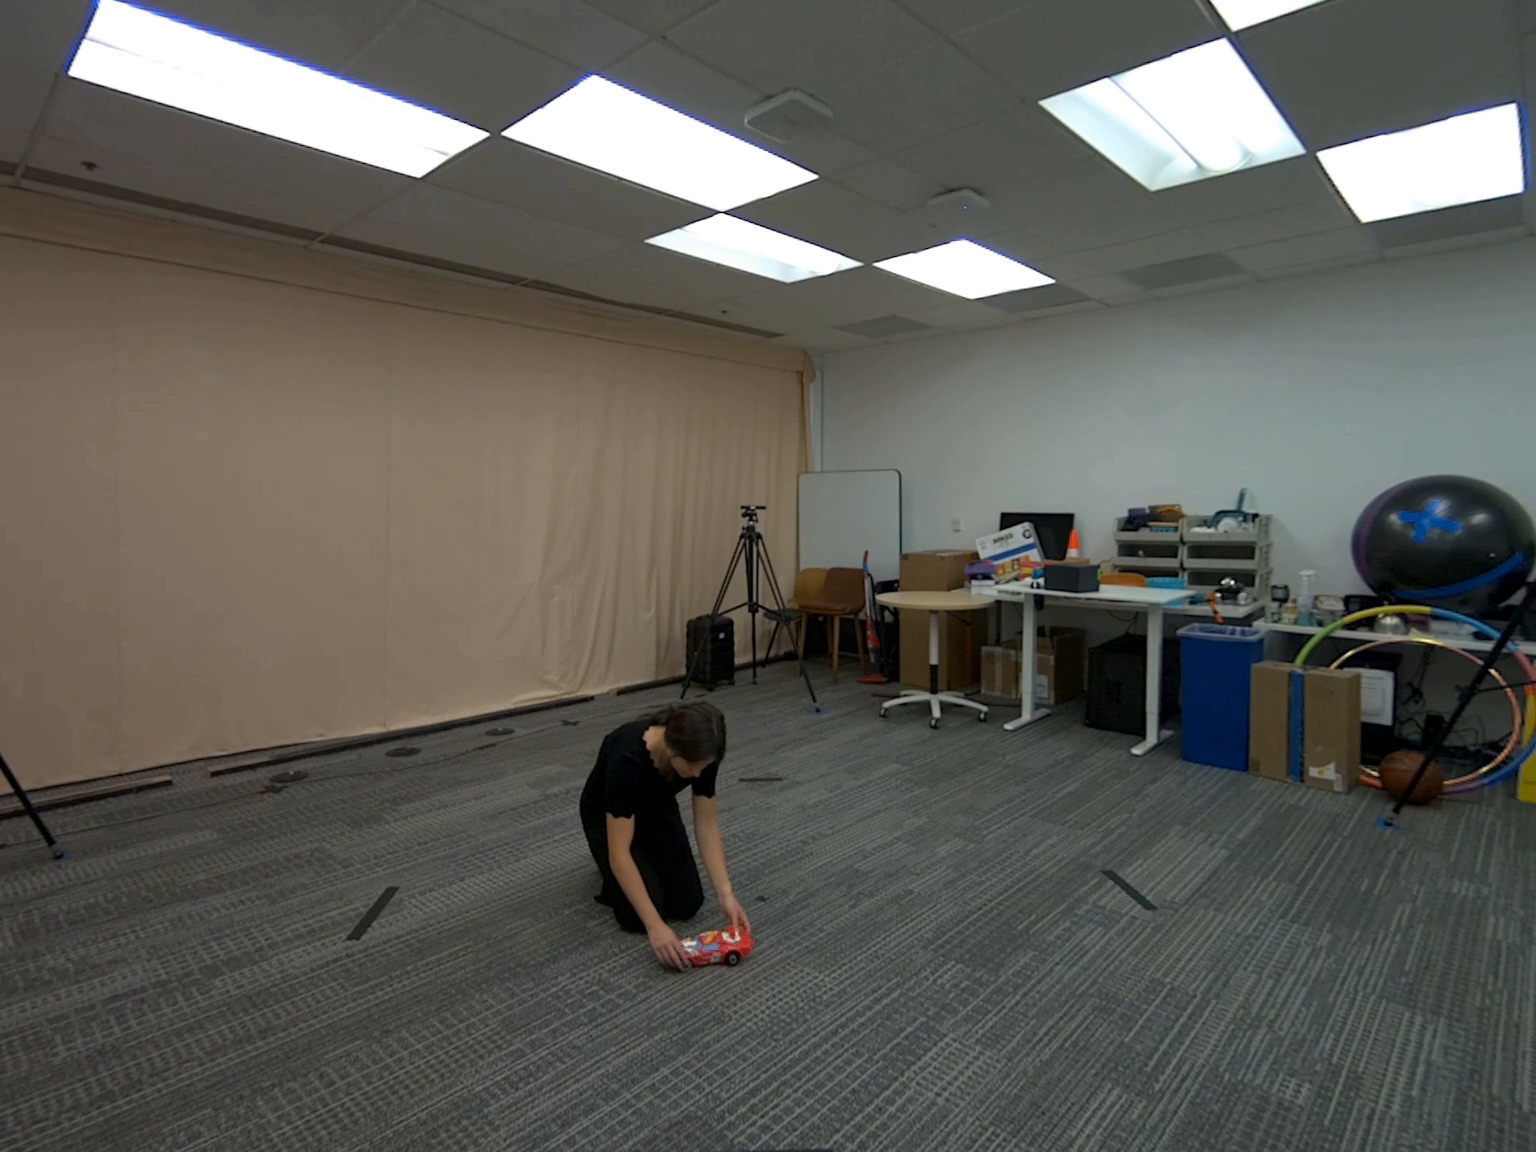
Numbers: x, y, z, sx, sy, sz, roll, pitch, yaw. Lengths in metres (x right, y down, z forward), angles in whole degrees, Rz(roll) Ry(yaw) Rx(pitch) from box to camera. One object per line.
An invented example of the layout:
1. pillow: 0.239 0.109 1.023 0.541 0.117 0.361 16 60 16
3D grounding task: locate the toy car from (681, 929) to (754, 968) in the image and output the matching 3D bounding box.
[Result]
1. toy car: -0.168 1.149 2.582 0.252 0.083 0.132 -13 9 -10
